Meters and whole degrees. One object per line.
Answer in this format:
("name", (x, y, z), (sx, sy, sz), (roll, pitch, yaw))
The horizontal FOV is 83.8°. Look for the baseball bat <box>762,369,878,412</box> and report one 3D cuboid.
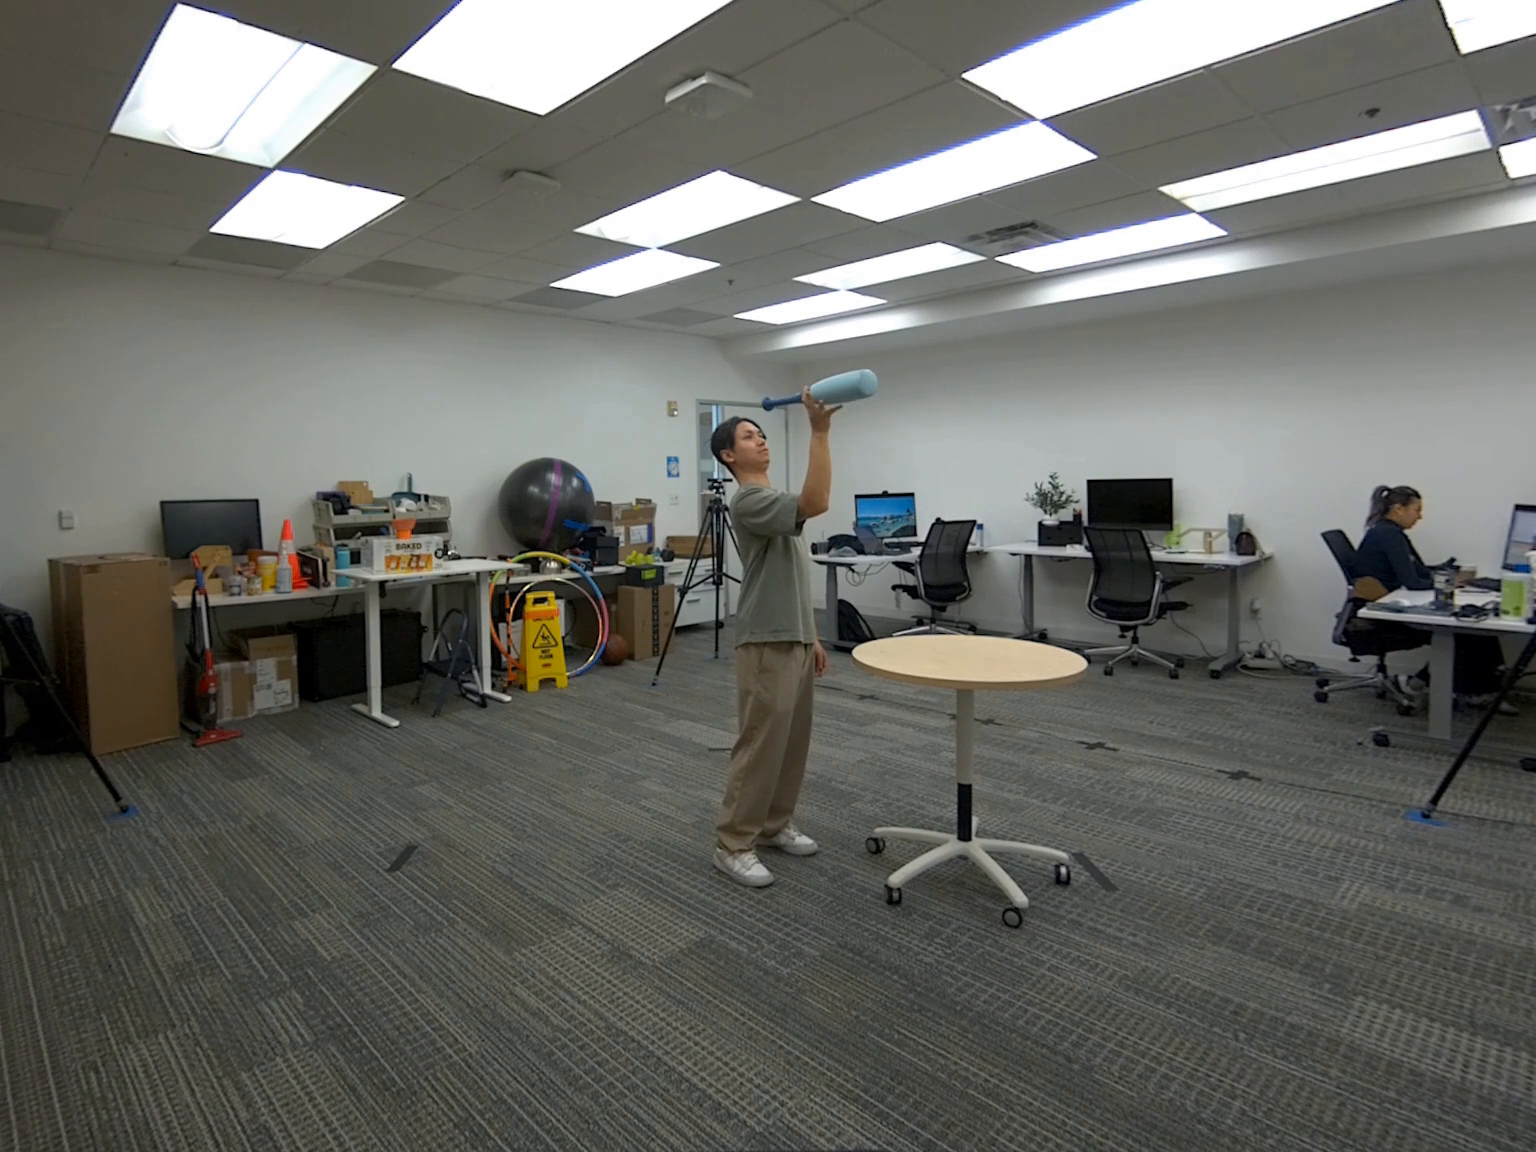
("baseball bat", (0.151, -0.595, 2.809), (0.087, 0.089, 0.557), (-4, 4, -34))
